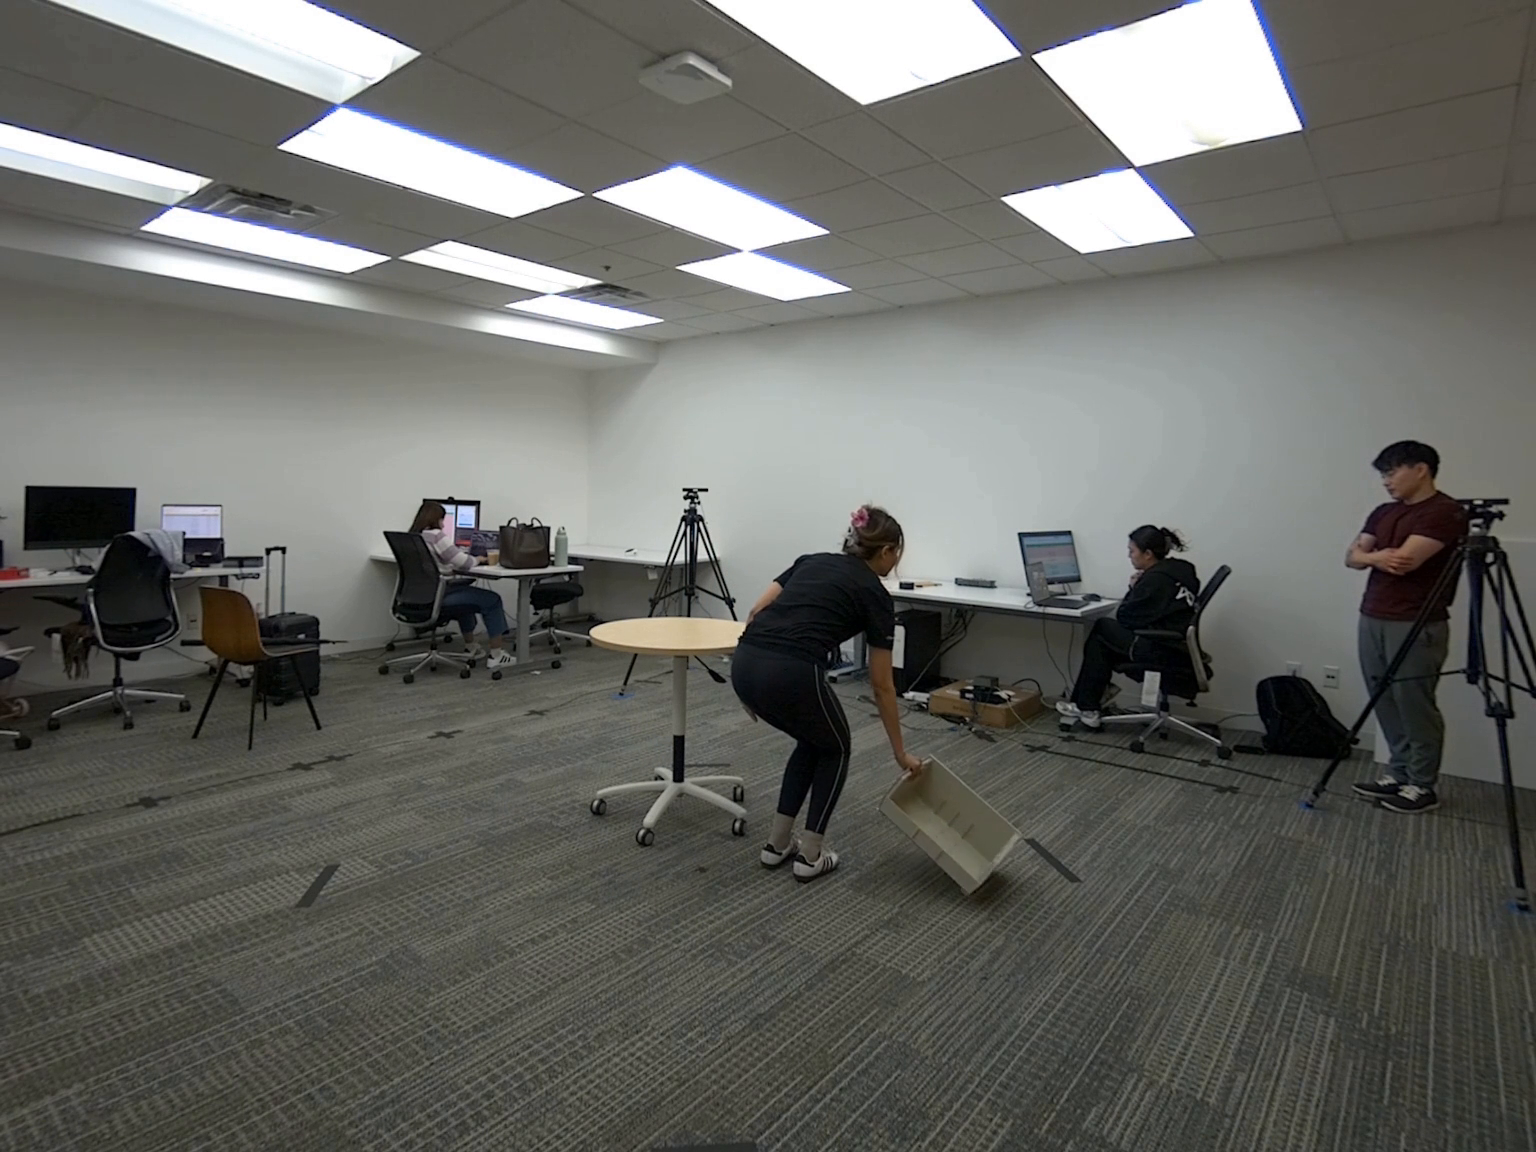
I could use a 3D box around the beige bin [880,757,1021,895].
[{"bbox_3d":[0.645,0.888,3.085,0.437,0.188,0.367,40,20,25],"label":"beige bin"}]
